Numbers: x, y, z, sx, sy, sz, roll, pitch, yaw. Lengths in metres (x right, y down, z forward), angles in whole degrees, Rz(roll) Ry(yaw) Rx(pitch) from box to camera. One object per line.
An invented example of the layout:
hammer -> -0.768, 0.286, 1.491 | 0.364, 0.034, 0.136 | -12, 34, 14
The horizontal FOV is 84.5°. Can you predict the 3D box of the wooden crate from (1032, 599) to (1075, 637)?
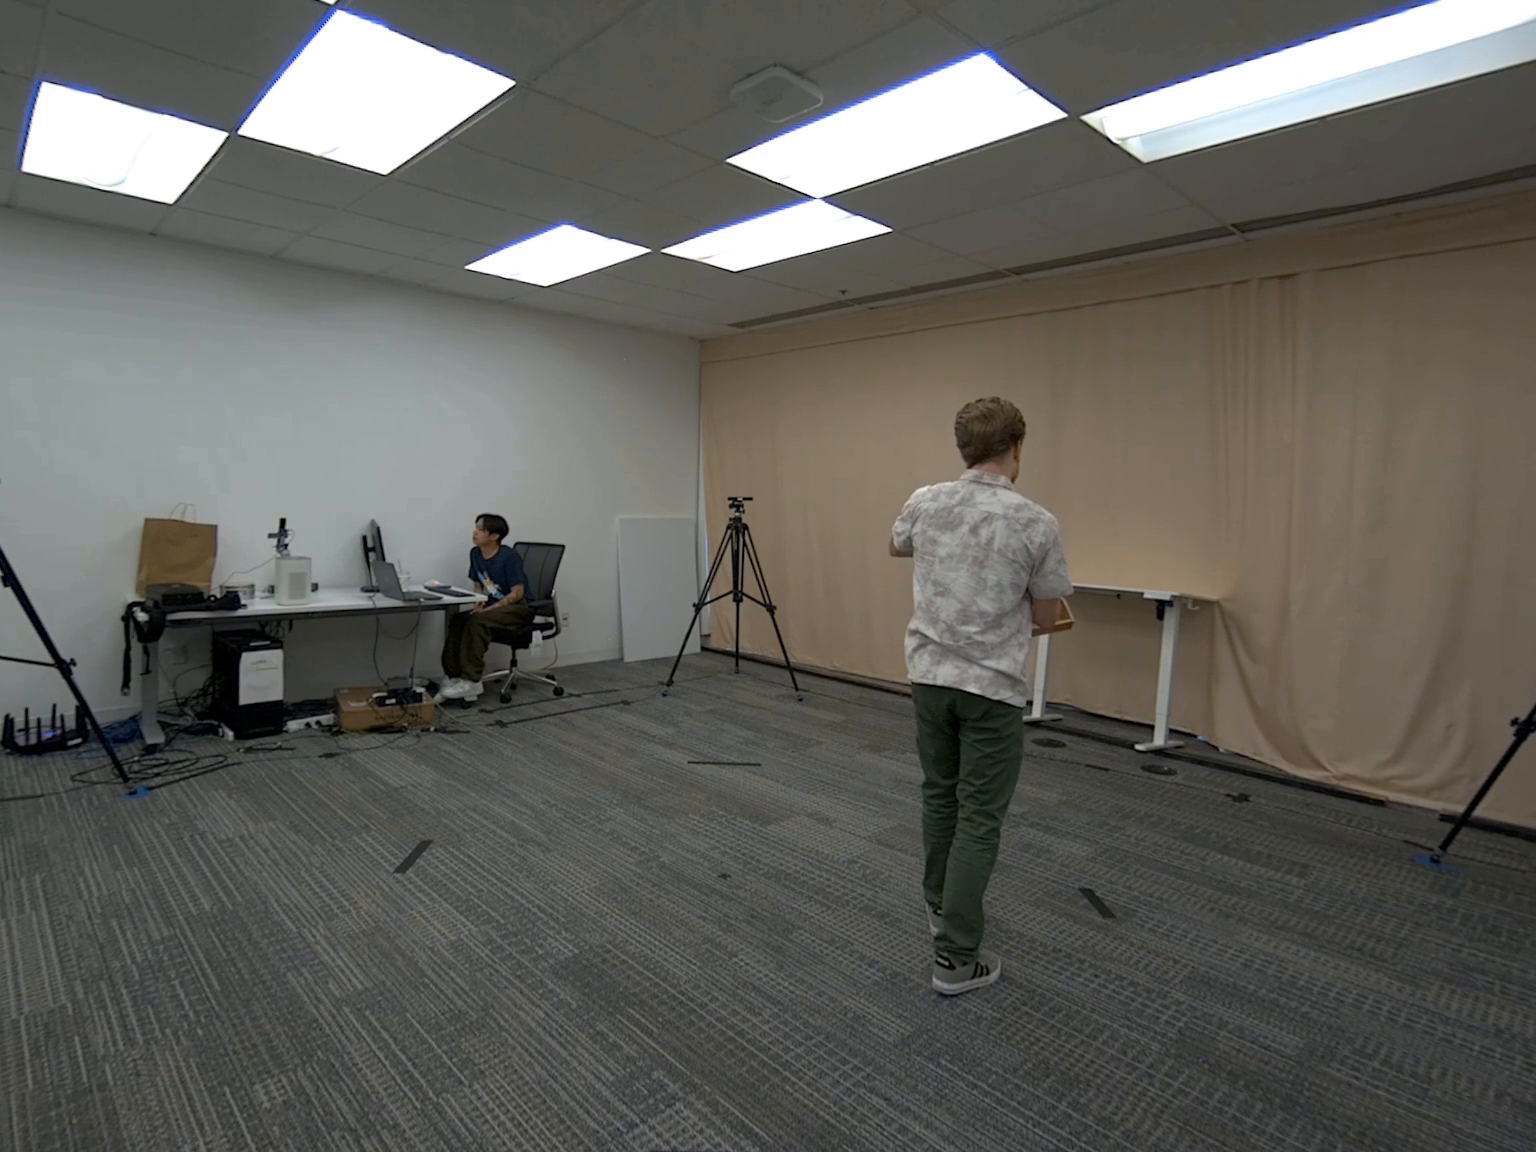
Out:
wooden crate -> 0.838, 0.039, 2.841 | 0.323, 0.268, 0.309 | -10, 26, -7
